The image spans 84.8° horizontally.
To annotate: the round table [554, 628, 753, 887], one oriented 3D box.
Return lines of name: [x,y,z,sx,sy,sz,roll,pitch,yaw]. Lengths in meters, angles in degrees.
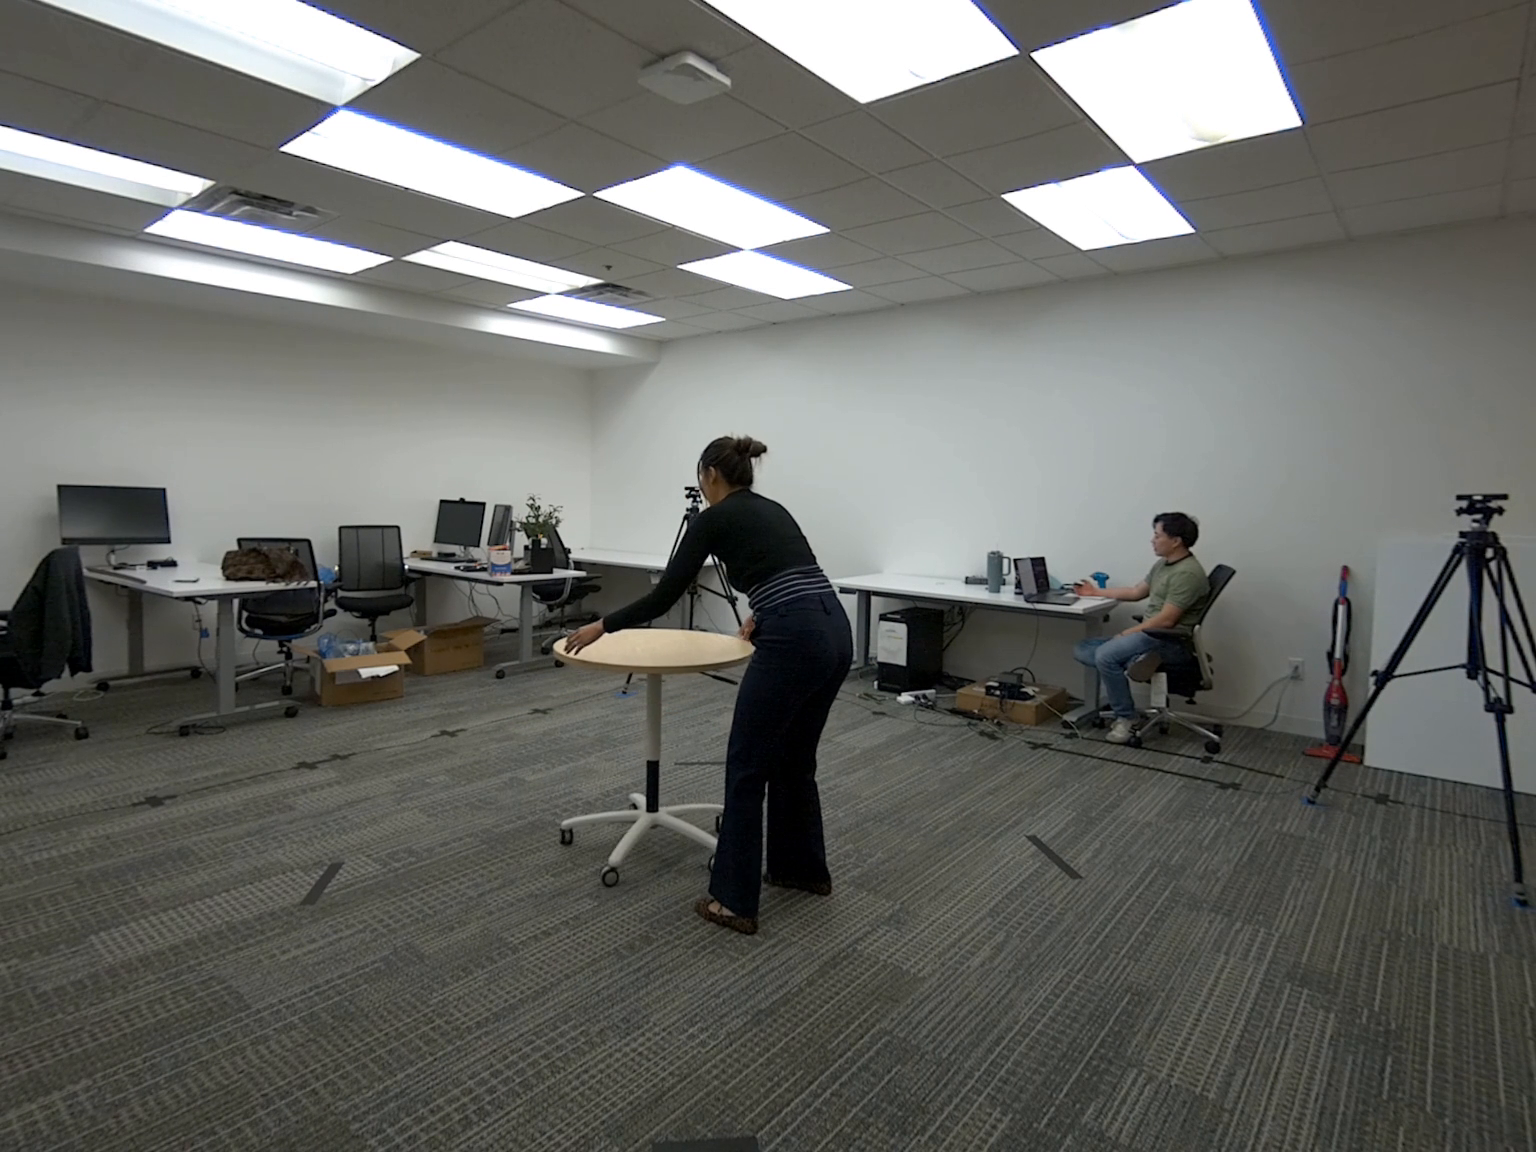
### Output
round table: [-0.451,0.656,3.264,0.763,0.791,0.768,1,4,-2]
